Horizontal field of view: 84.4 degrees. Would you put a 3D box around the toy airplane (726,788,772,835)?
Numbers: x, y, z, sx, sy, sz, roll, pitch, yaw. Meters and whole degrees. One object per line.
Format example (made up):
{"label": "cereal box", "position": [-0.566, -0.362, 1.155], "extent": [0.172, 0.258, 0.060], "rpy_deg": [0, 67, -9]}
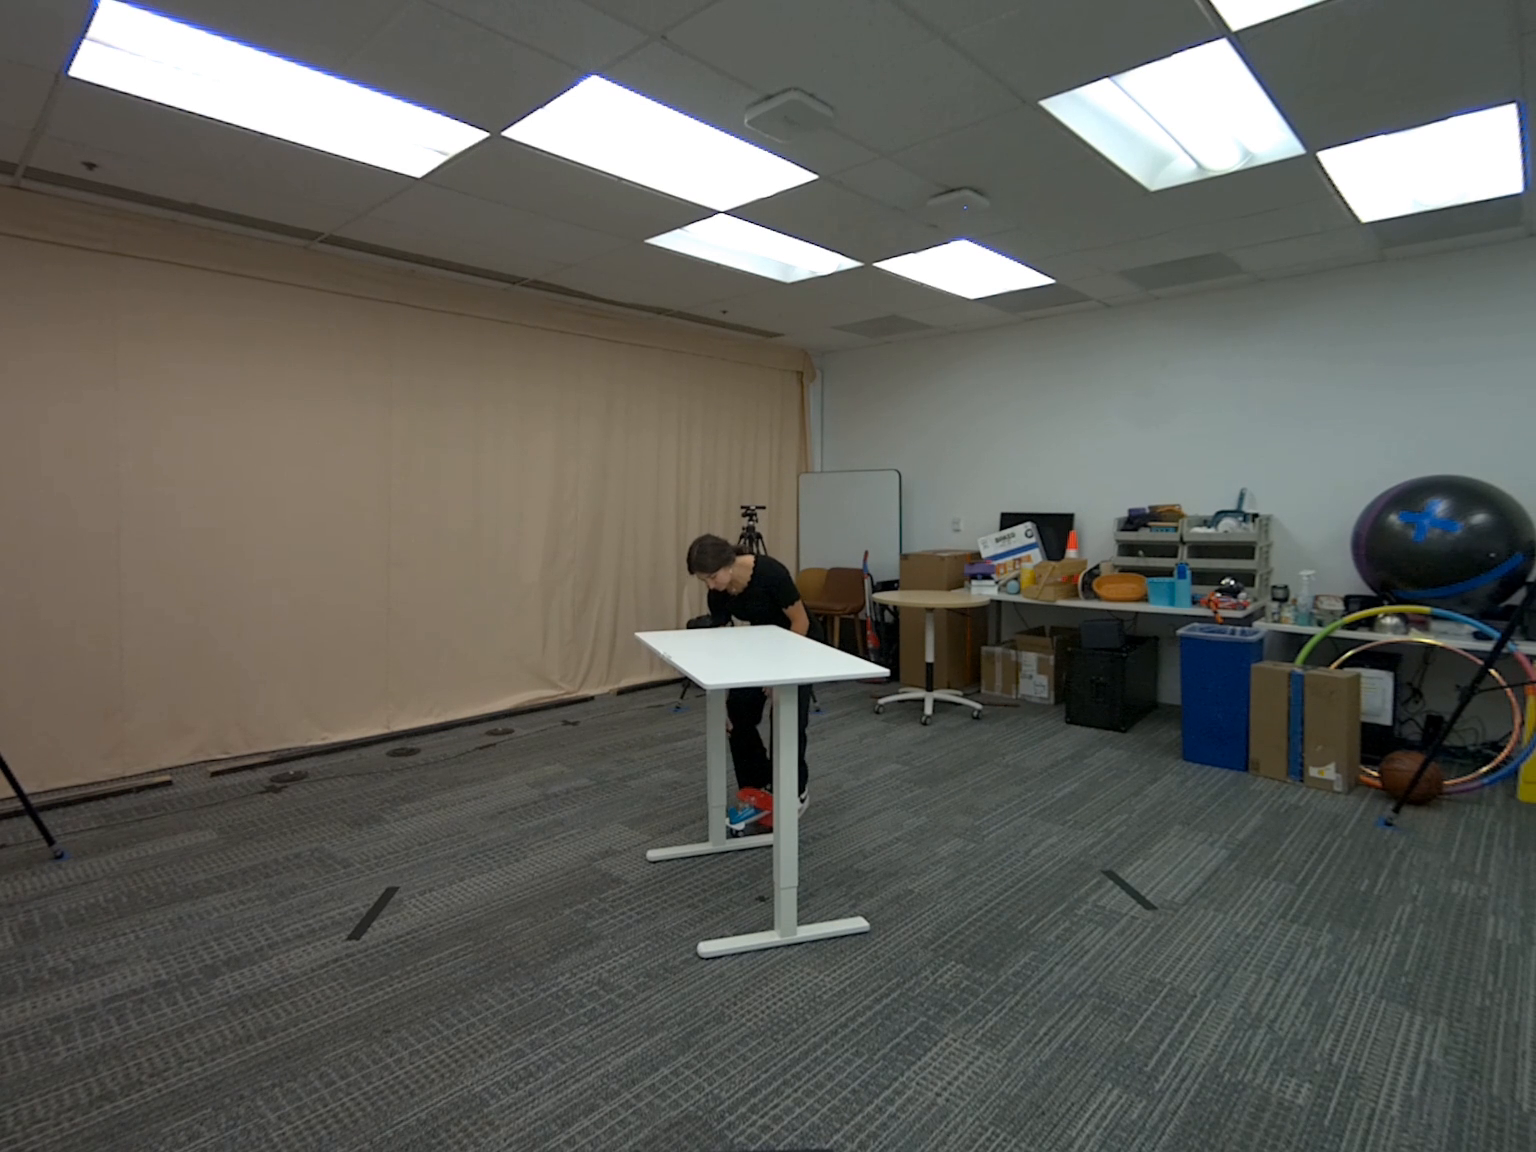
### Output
{"label": "toy airplane", "position": [-0.051, 1.012, 3.576], "extent": [0.257, 0.156, 0.253], "rpy_deg": [3, 3, 23]}
